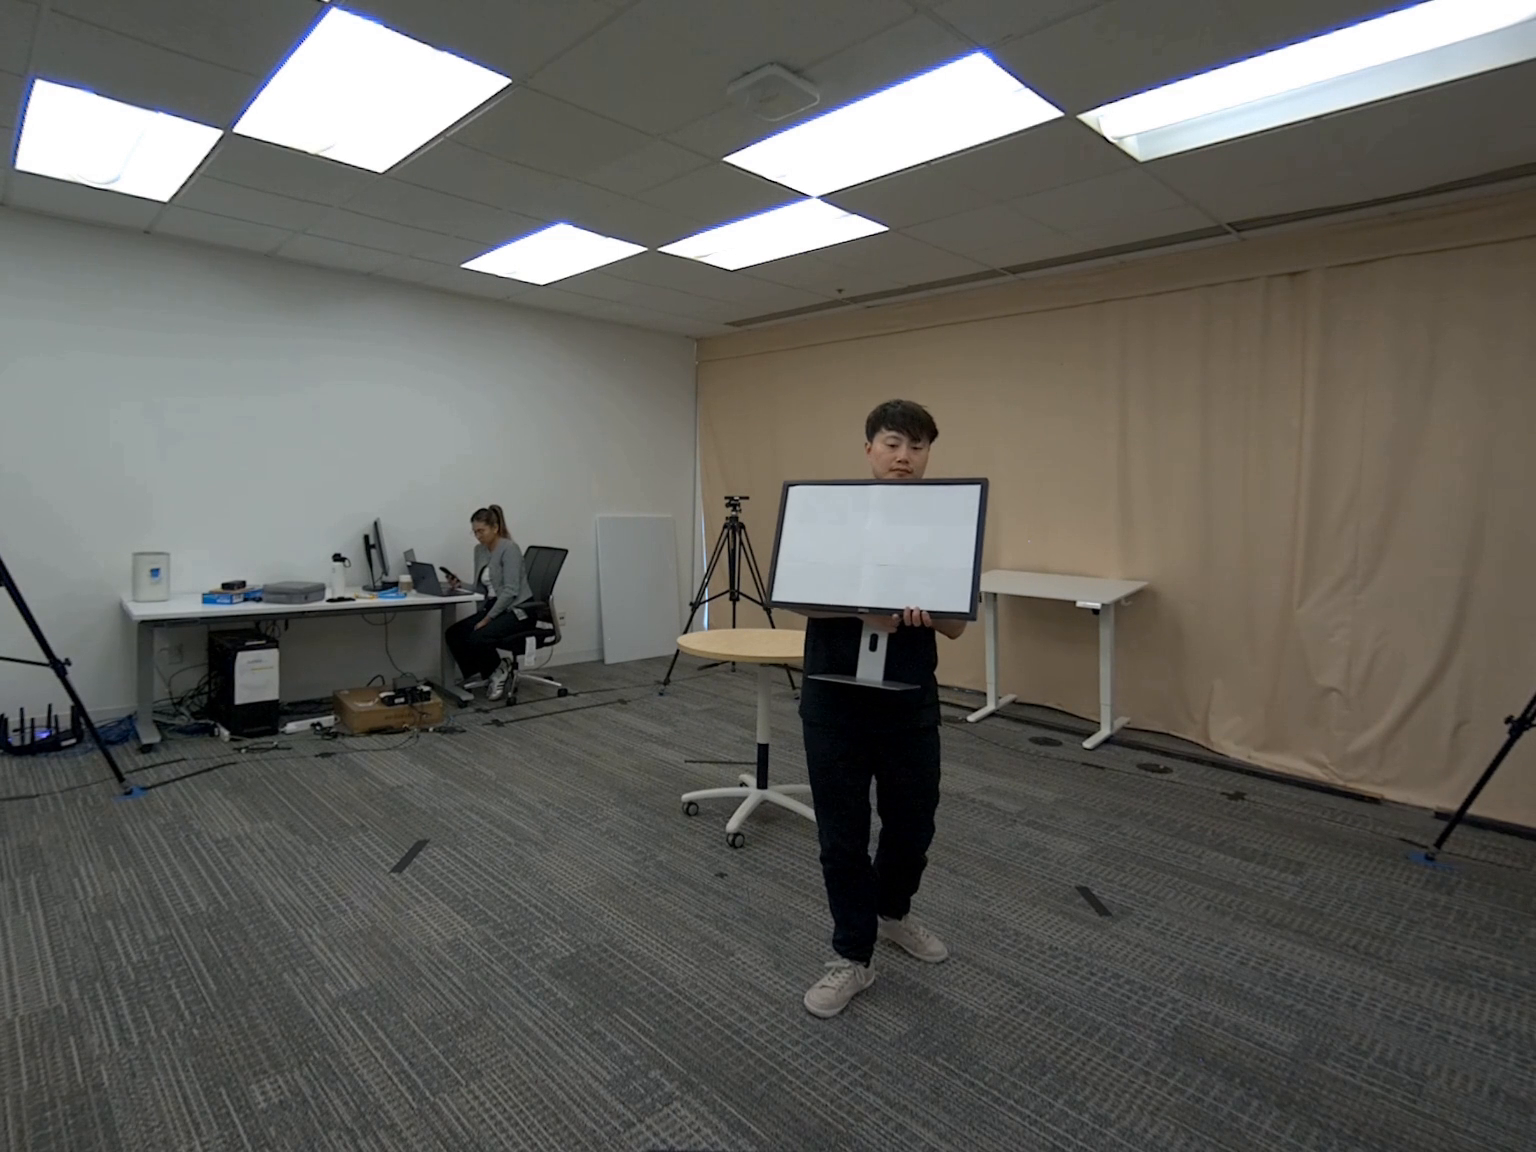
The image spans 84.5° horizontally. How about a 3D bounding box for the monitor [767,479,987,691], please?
[{"bbox_3d":[0.283,0.017,2.205,0.550,0.525,0.182,2,-7,28],"label":"monitor"}]
